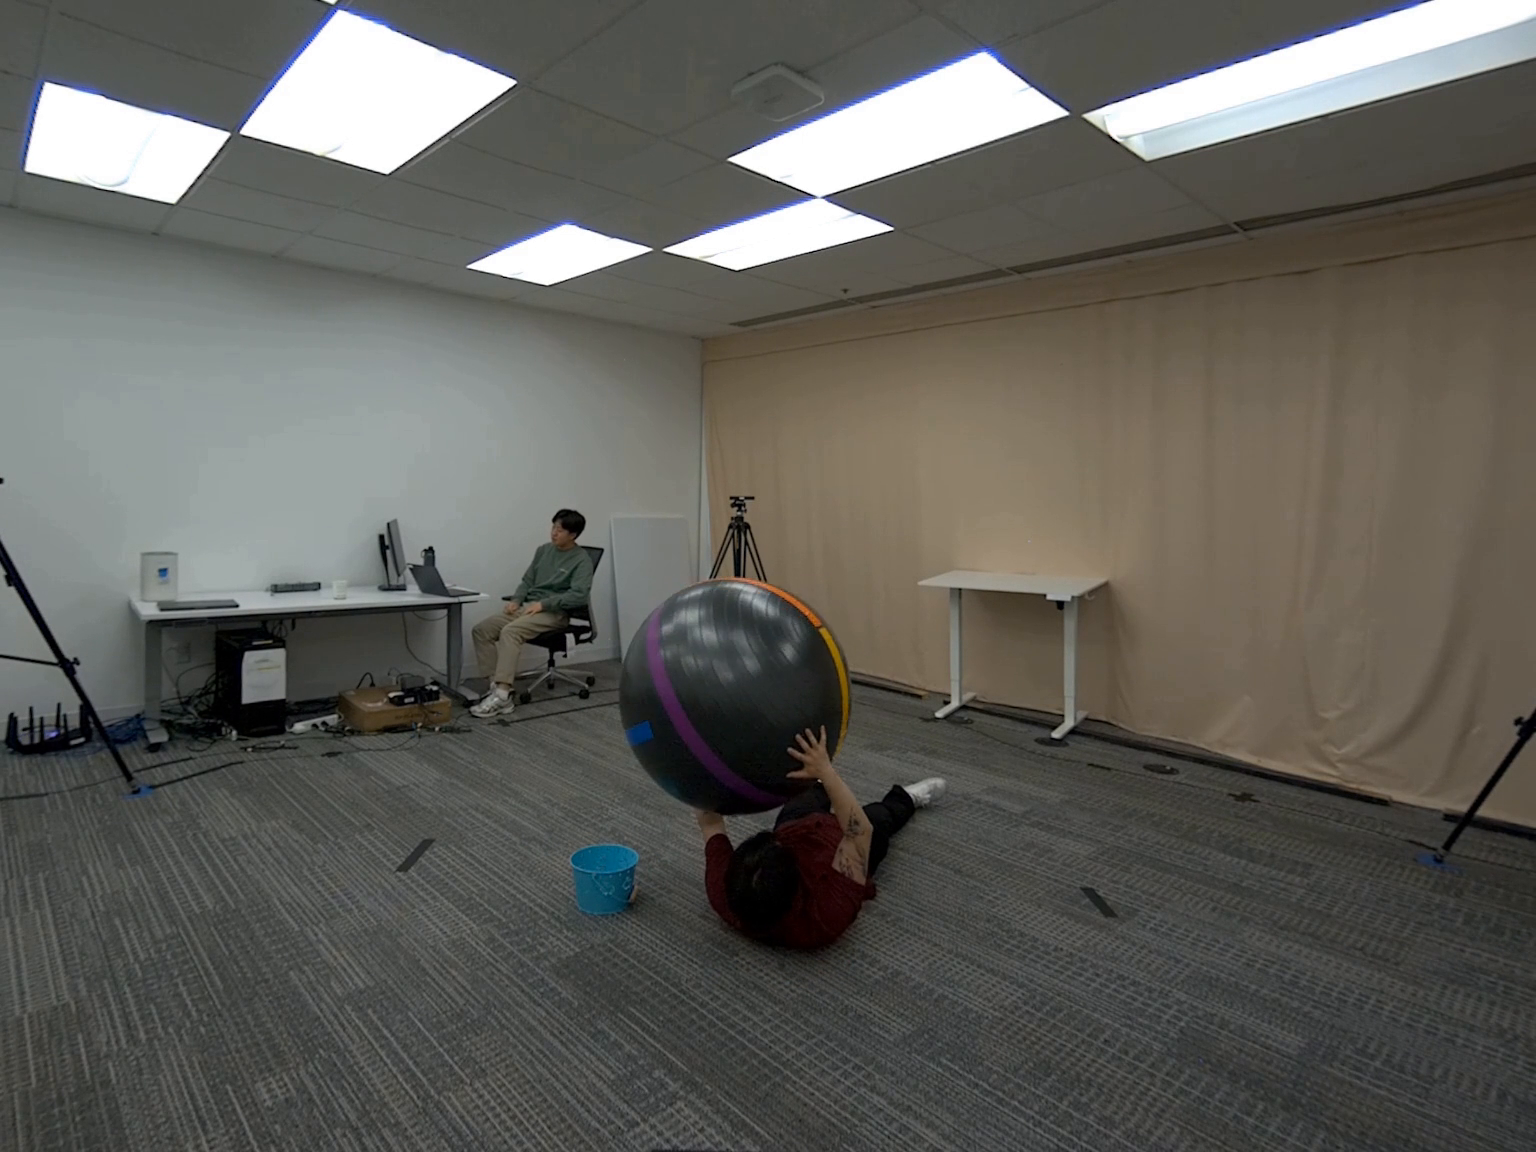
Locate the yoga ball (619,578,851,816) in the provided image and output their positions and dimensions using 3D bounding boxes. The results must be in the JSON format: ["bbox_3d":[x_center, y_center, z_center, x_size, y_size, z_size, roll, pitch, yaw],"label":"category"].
[{"bbox_3d":[-0.113,0.389,2.765,0.757,0.756,0.761,1,4,-1],"label":"yoga ball"}]
